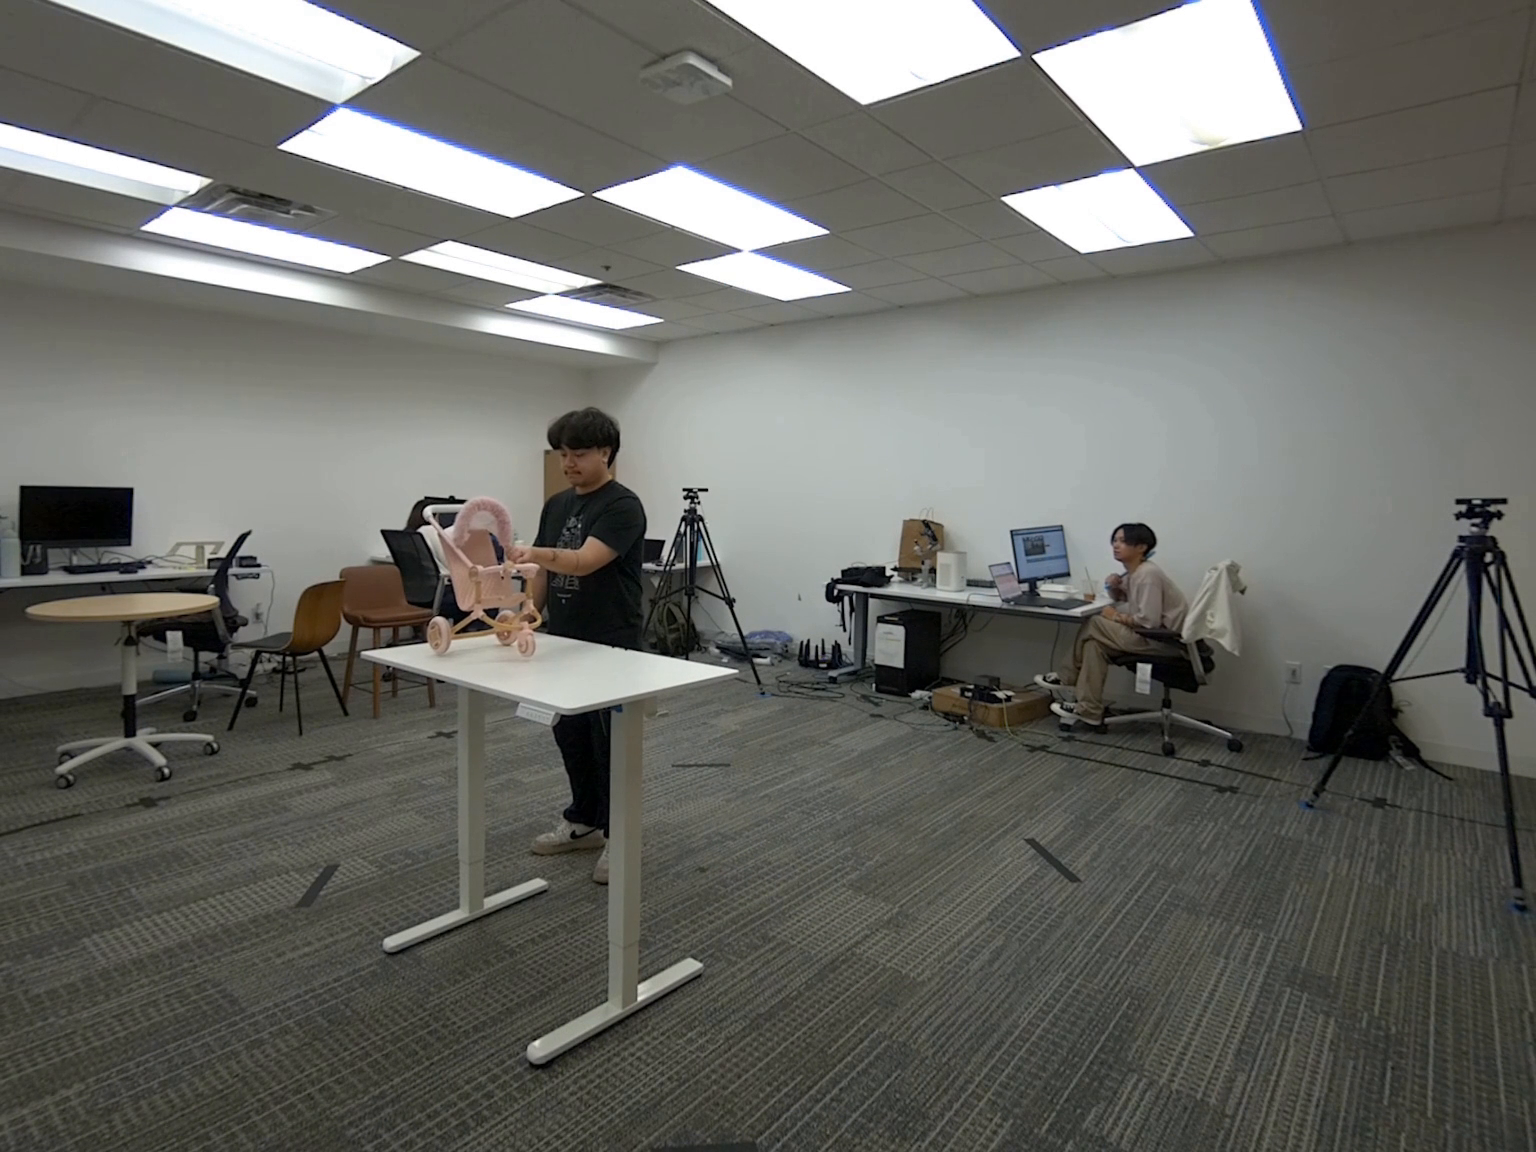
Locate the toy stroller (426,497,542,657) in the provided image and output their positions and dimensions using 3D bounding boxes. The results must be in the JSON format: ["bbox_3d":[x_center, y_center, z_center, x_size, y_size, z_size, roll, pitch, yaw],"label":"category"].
[{"bbox_3d":[-0.866,-0.004,2.570,0.349,0.540,0.273,-17,-11,40],"label":"toy stroller"}]
